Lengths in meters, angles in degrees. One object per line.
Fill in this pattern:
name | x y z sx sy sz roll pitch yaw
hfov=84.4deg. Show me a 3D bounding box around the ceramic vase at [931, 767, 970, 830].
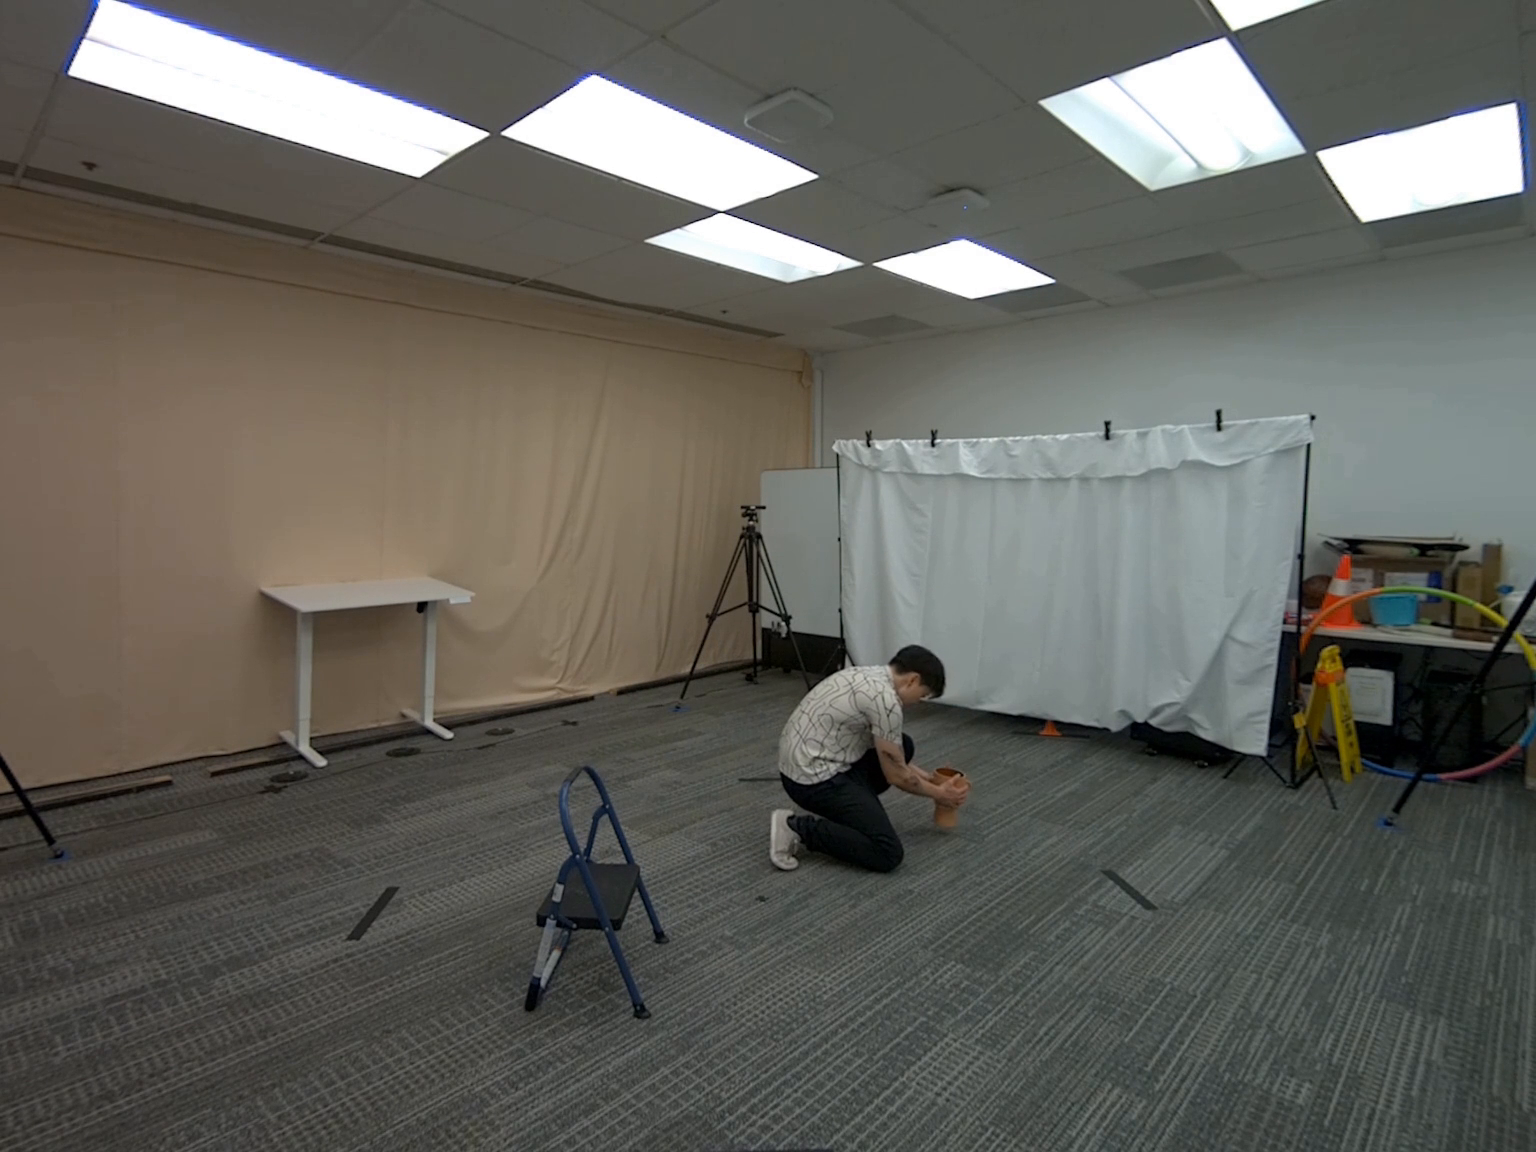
ceramic vase | 0.760 0.934 3.554 0.164 0.219 0.130 10 8 38
